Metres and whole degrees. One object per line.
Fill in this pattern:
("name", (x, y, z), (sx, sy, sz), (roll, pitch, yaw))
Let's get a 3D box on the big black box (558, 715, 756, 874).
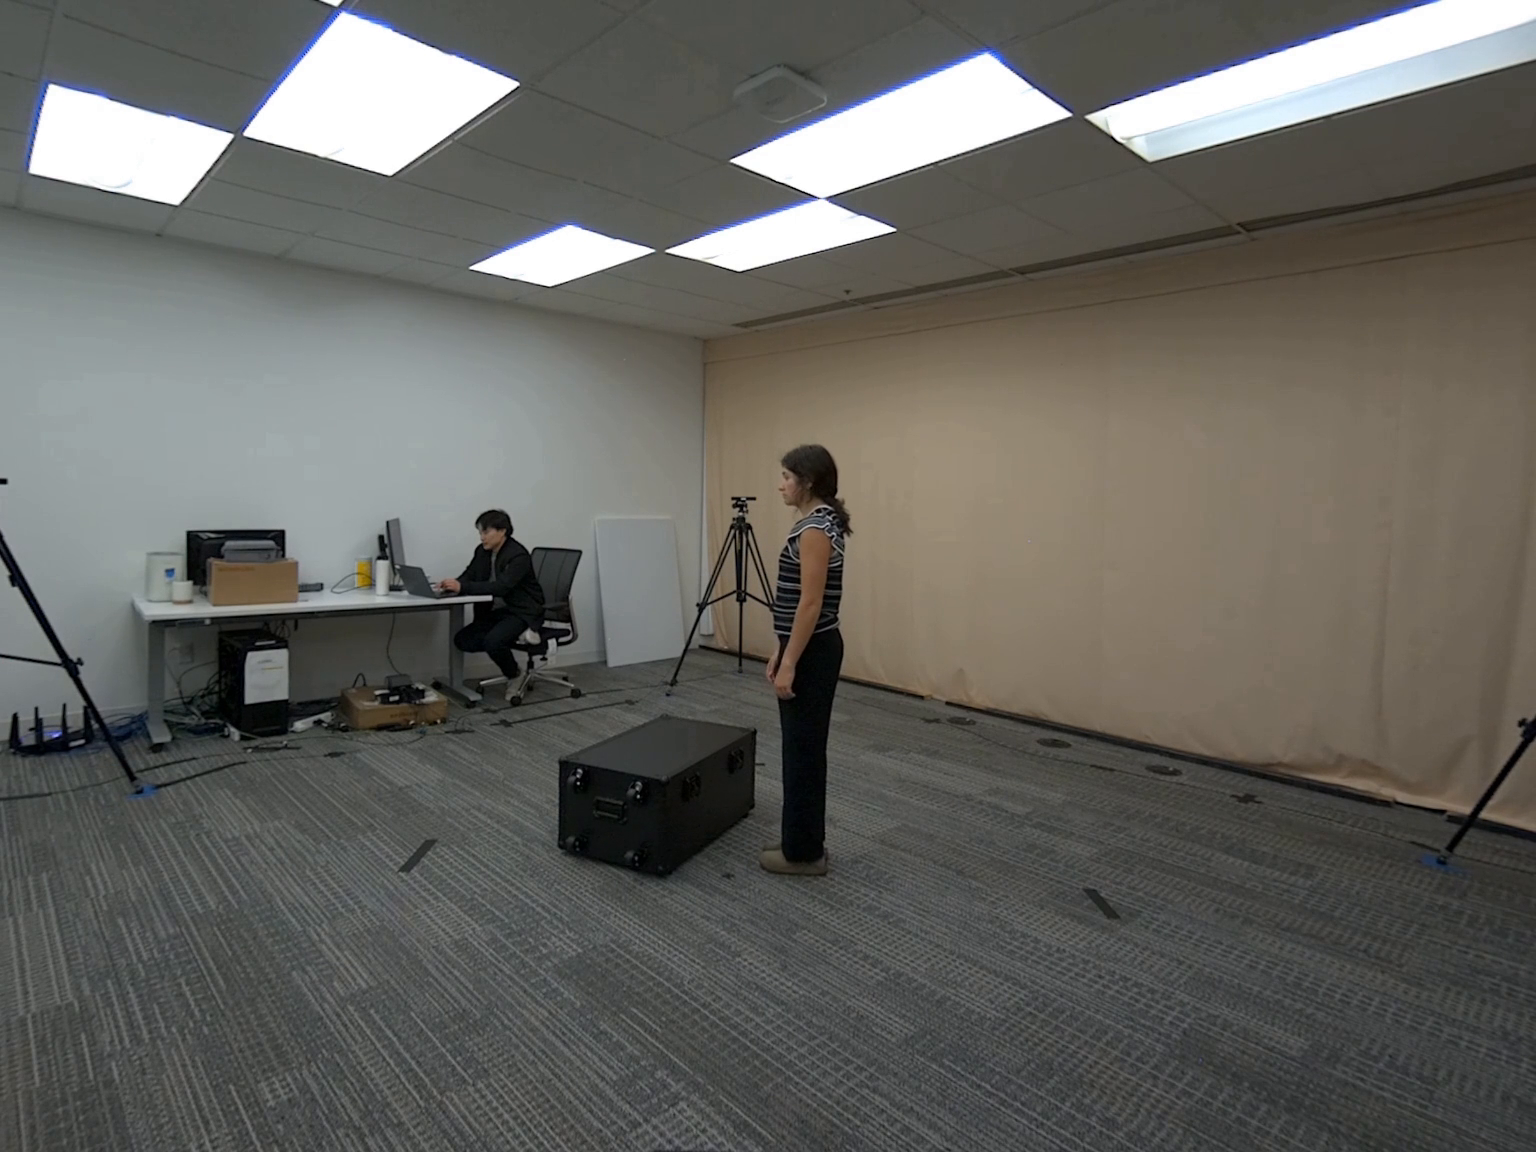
("big black box", (-0.452, 0.877, 3.457), (0.531, 0.395, 0.847), (4, 5, 24))
